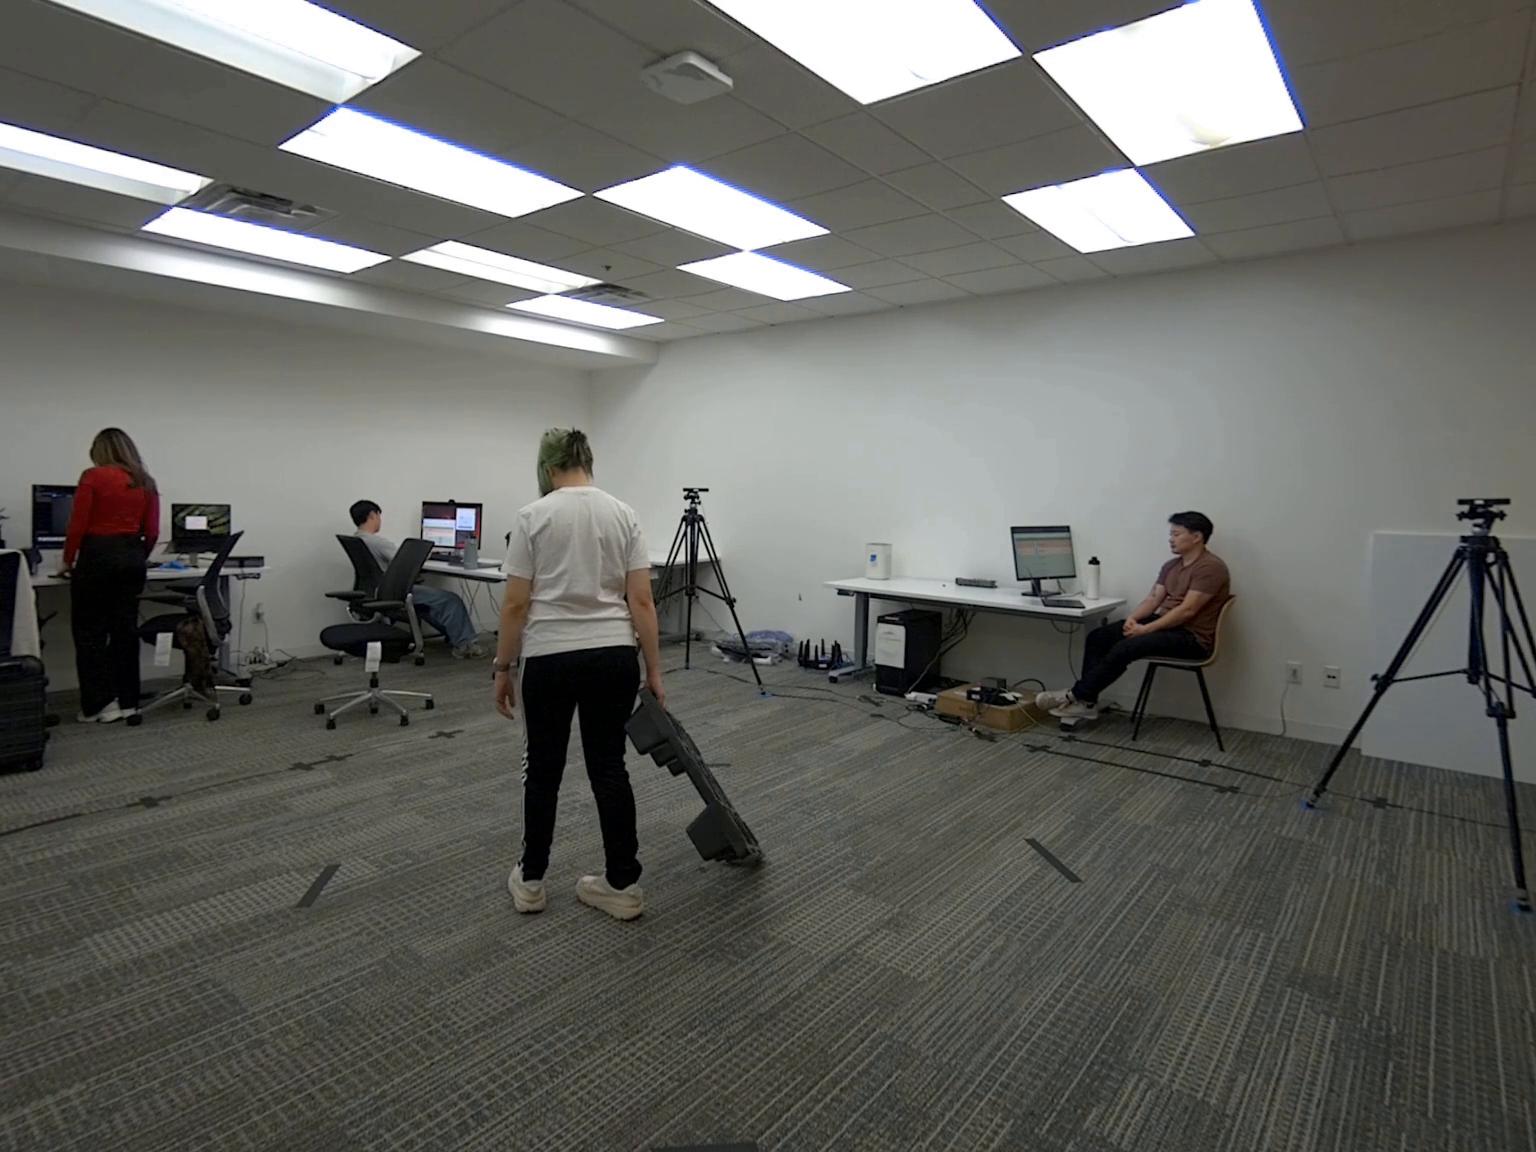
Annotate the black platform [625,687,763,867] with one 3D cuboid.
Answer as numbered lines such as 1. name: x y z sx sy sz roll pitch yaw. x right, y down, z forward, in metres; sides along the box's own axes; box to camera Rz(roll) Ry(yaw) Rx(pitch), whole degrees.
1. black platform: -0.258 0.737 2.930 0.143 0.621 0.787 -33 -18 -8
